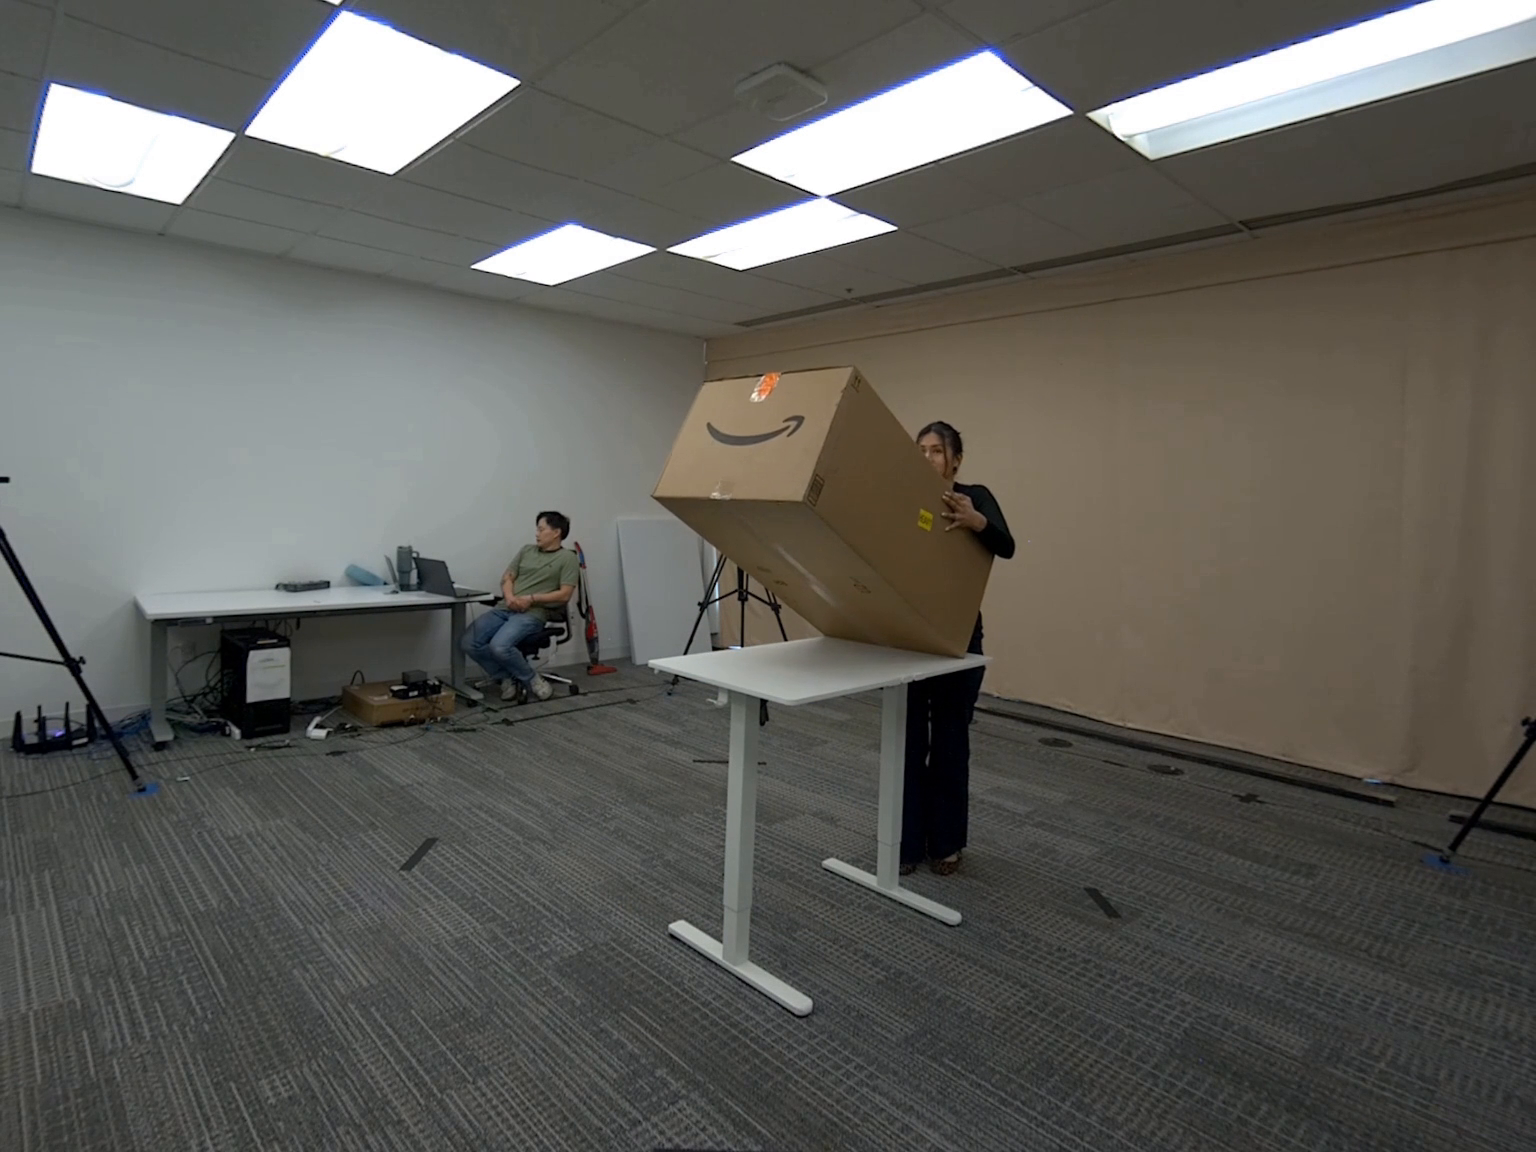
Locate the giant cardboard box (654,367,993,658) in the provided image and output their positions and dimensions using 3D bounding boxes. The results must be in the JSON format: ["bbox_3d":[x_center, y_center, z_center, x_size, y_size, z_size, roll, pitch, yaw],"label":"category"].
[{"bbox_3d":[0.213,-0.158,2.688,0.592,0.429,0.993,6,-25,42],"label":"giant cardboard box"}]
